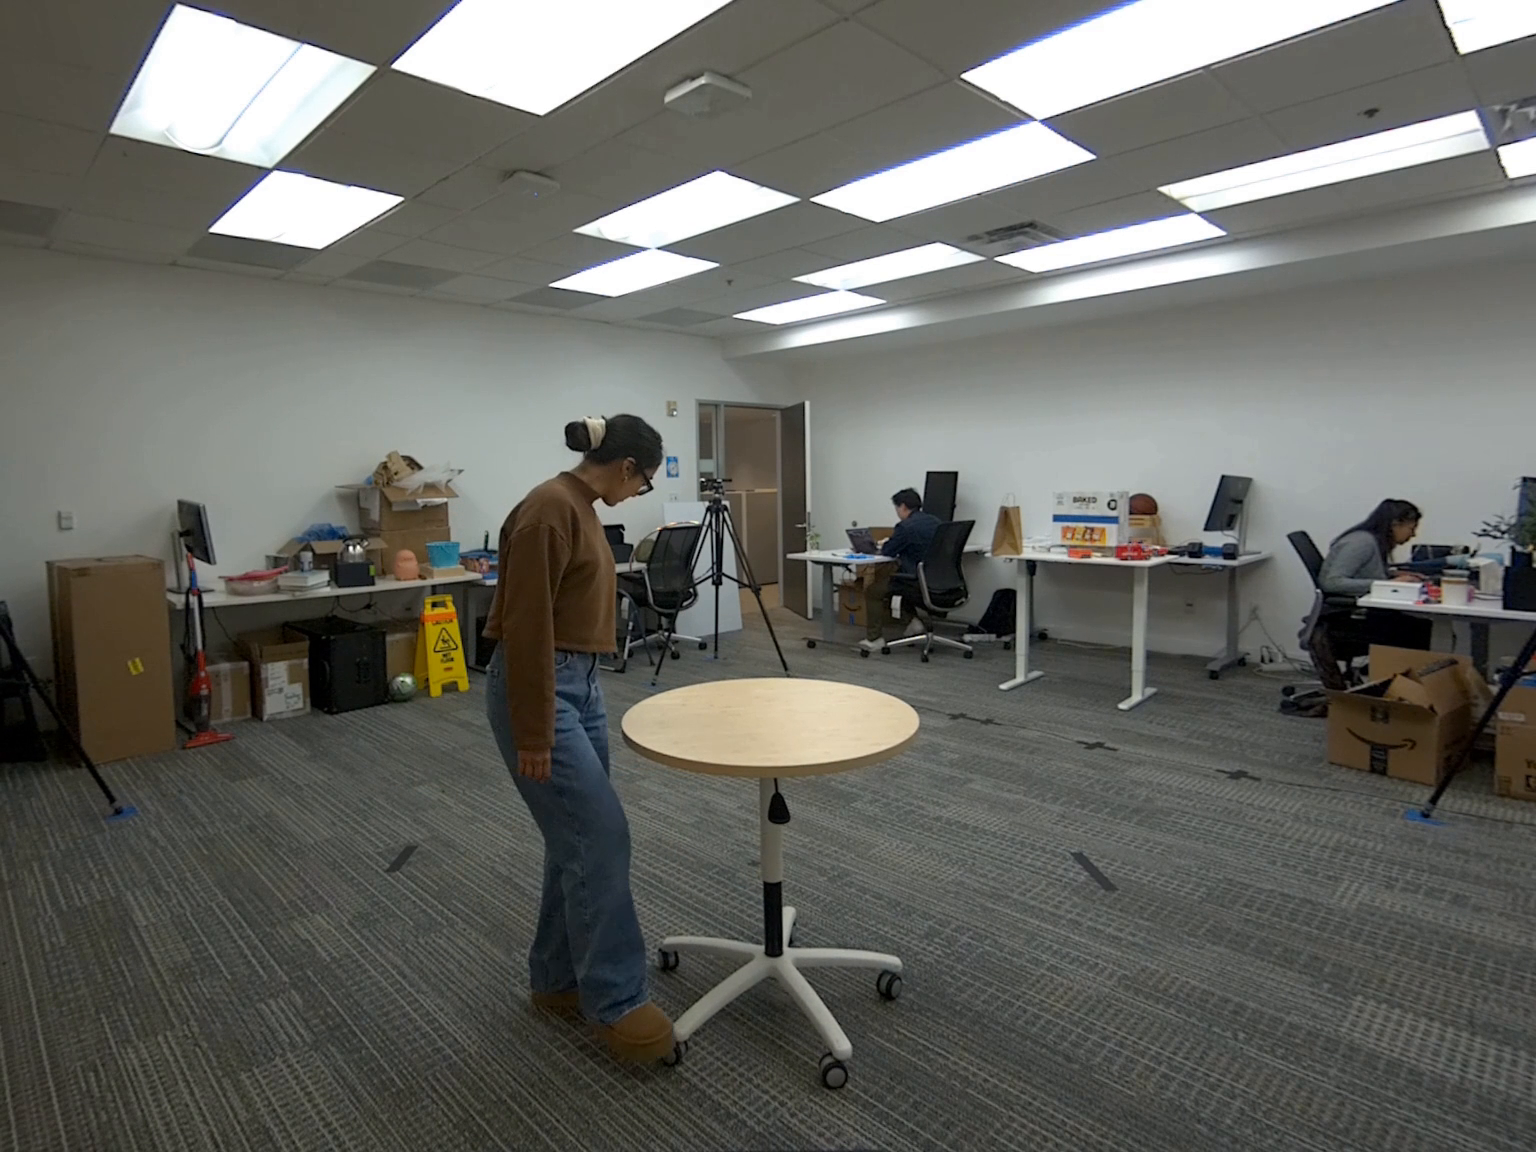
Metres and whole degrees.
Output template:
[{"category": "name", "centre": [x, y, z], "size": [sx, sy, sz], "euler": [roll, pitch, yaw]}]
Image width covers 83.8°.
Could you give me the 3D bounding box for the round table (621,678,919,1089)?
[{"category": "round table", "centre": [0.020, 0.755, 2.255], "size": [0.763, 0.790, 0.768], "euler": [-2, 5, -2]}]
